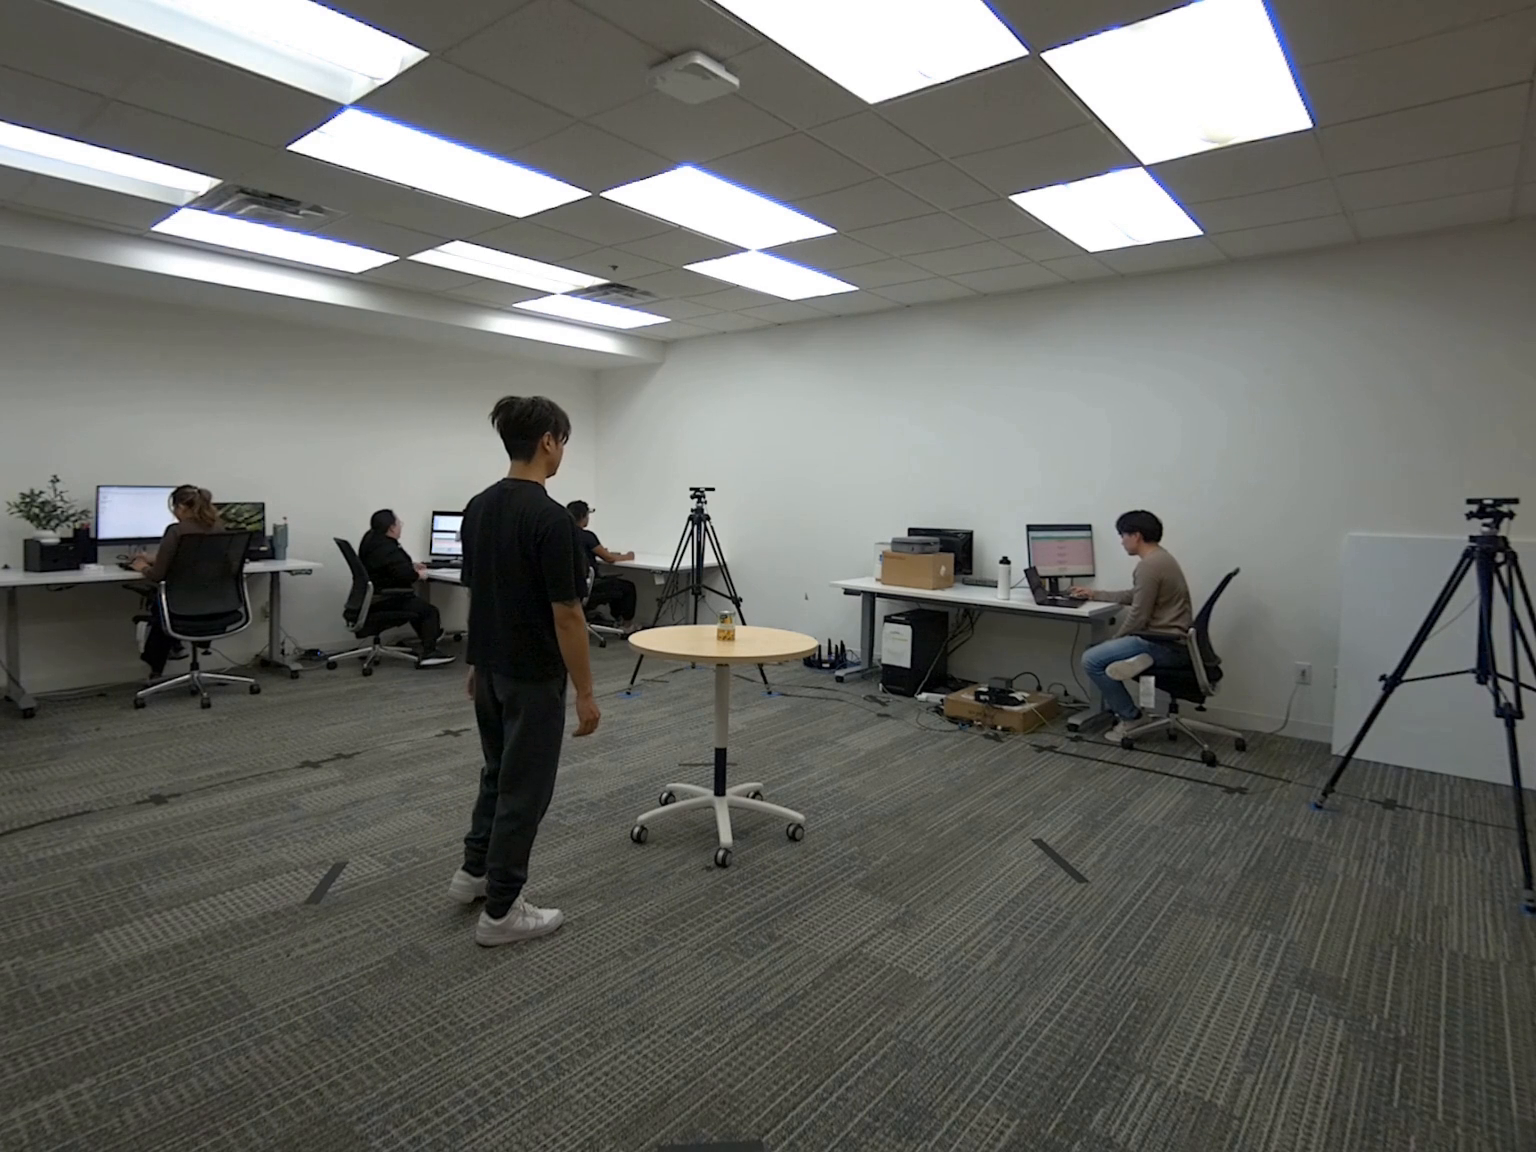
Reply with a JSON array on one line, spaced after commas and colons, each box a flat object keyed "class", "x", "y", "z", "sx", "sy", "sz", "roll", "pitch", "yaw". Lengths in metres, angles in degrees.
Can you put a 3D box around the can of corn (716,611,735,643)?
[{"class": "can of corn", "x": -0.183, "y": 0.199, "z": 3.441, "sx": 0.074, "sy": 0.111, "sz": 0.074, "roll": 4, "pitch": 3, "yaw": -2}]
